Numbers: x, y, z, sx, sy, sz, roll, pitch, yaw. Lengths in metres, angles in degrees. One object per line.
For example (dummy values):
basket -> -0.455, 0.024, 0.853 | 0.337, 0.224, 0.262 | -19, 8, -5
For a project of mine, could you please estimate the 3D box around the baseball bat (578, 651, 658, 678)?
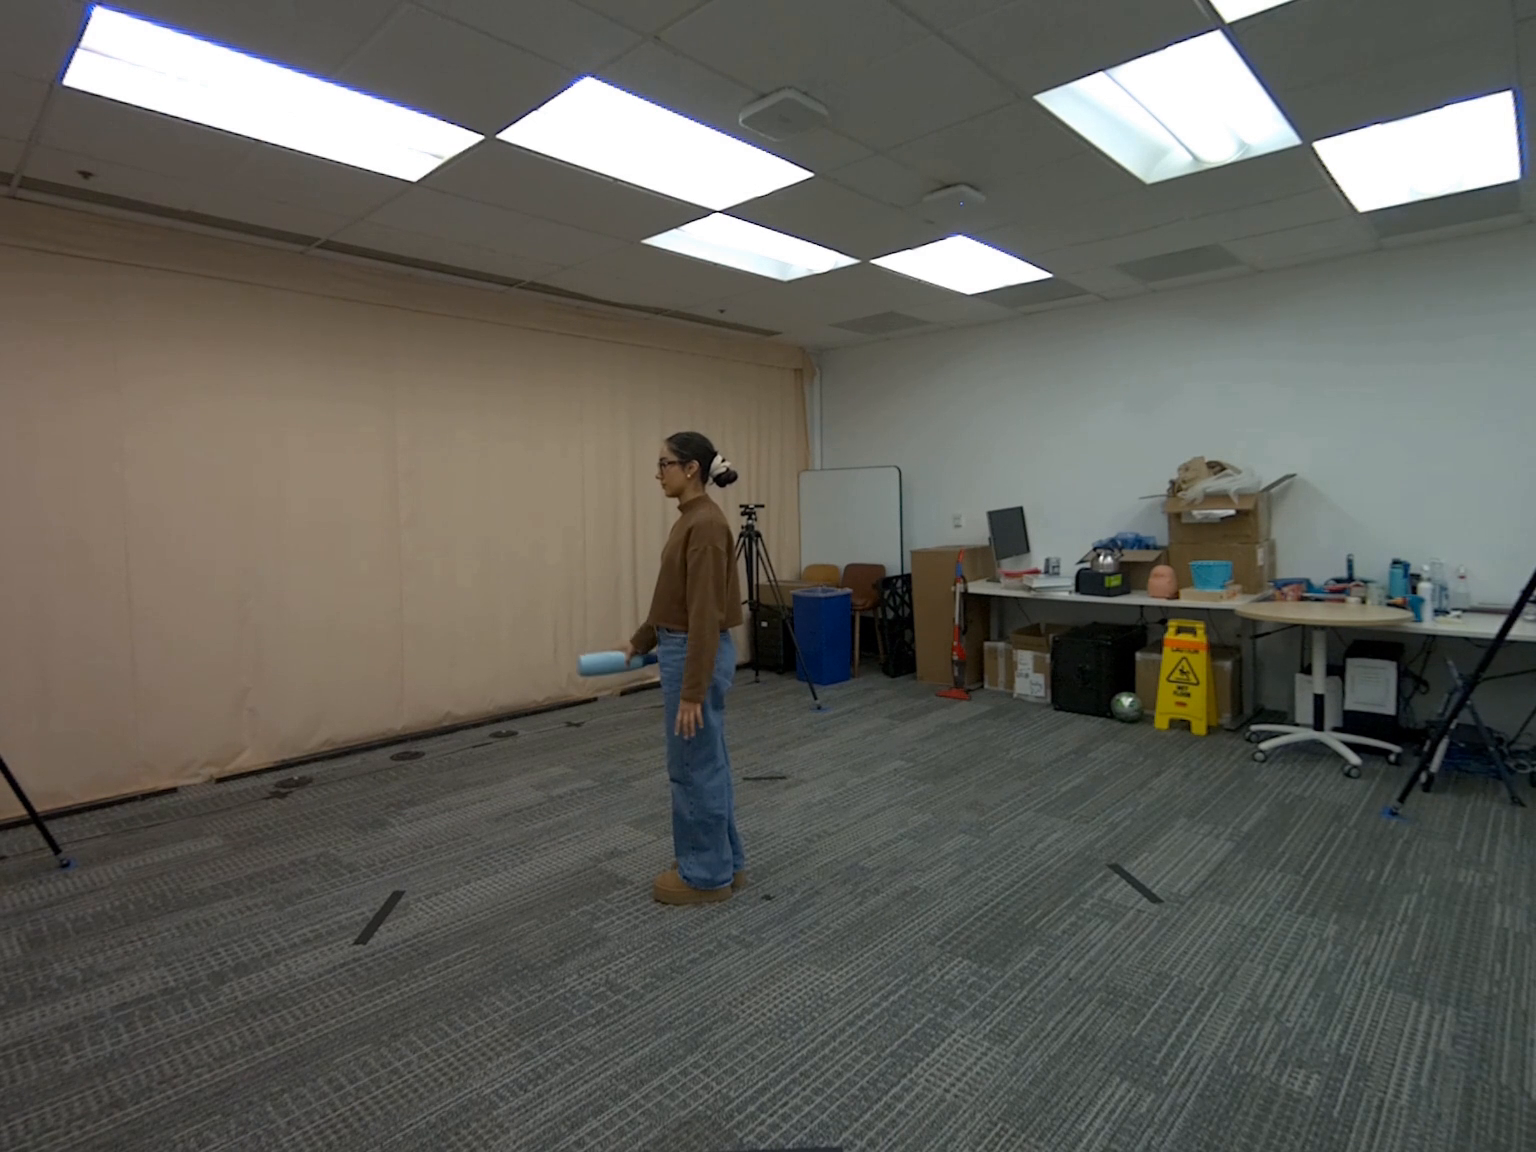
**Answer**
baseball bat -> -0.483, 0.318, 3.313 | 0.532, 0.089, 0.091 | -3, 4, -19
